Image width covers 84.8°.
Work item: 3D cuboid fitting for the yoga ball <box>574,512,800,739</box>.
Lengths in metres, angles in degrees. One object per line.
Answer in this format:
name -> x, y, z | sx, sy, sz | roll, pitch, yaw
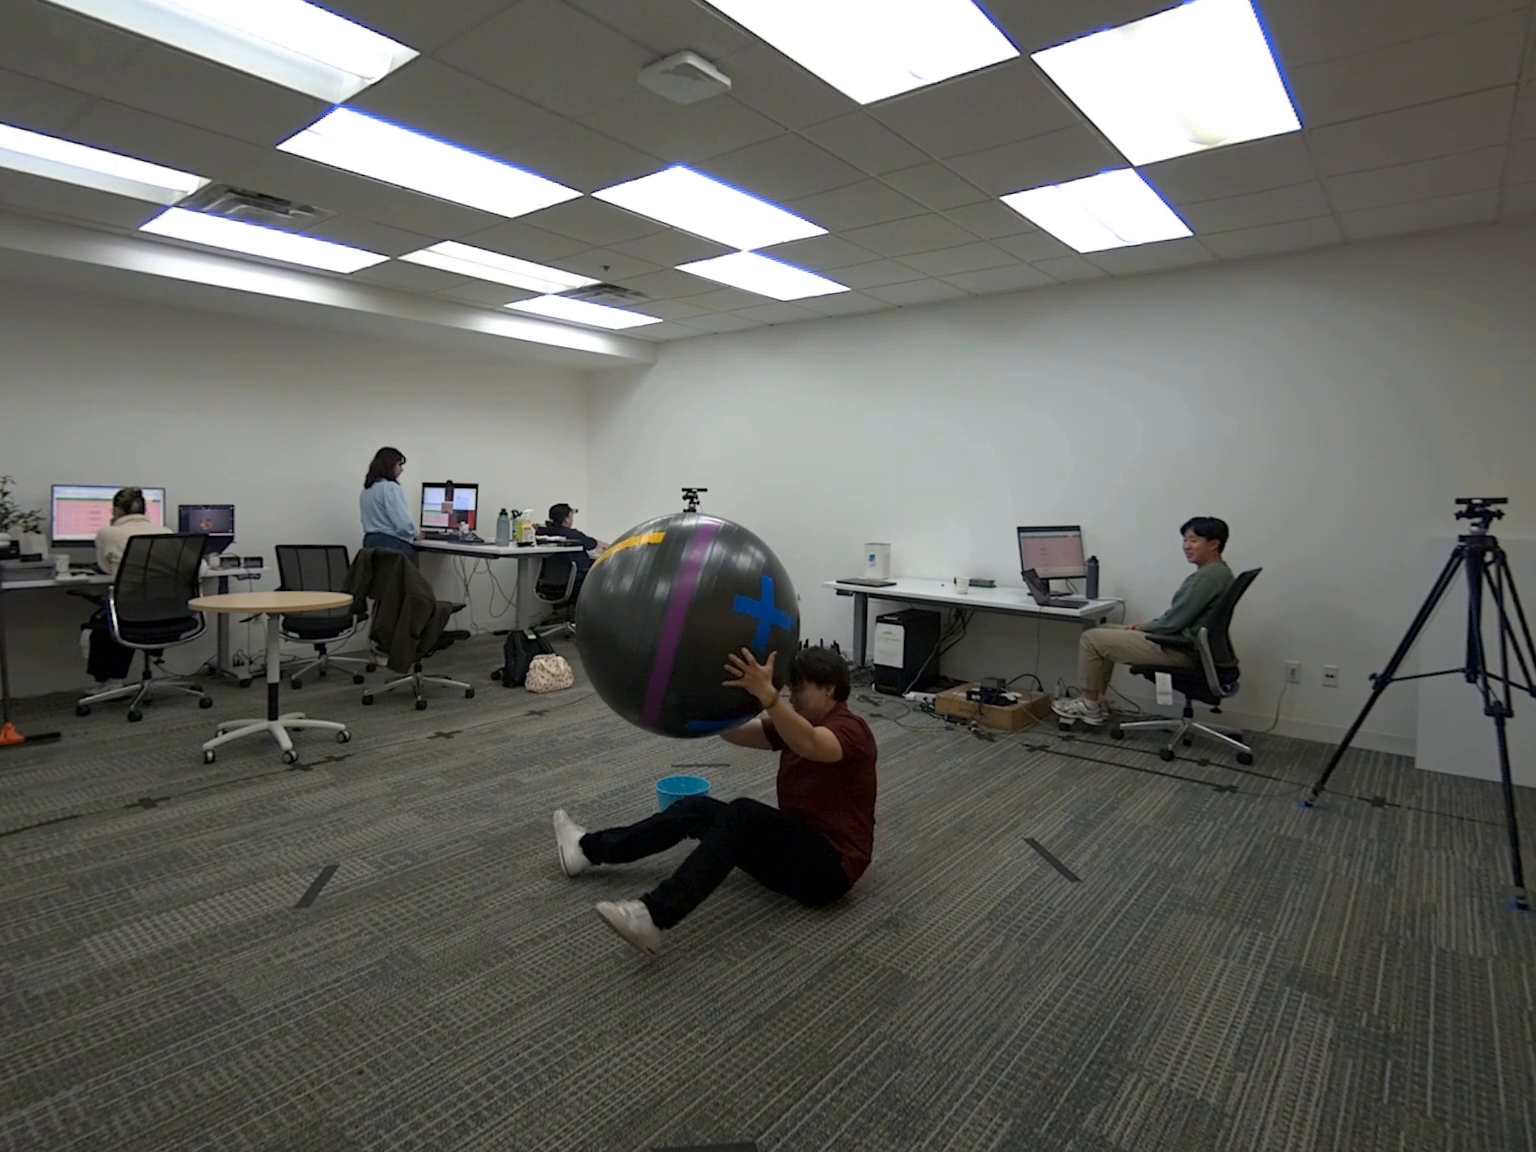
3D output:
yoga ball -> -0.284, 0.169, 2.886 | 0.757, 0.755, 0.762 | 1, 4, -2
